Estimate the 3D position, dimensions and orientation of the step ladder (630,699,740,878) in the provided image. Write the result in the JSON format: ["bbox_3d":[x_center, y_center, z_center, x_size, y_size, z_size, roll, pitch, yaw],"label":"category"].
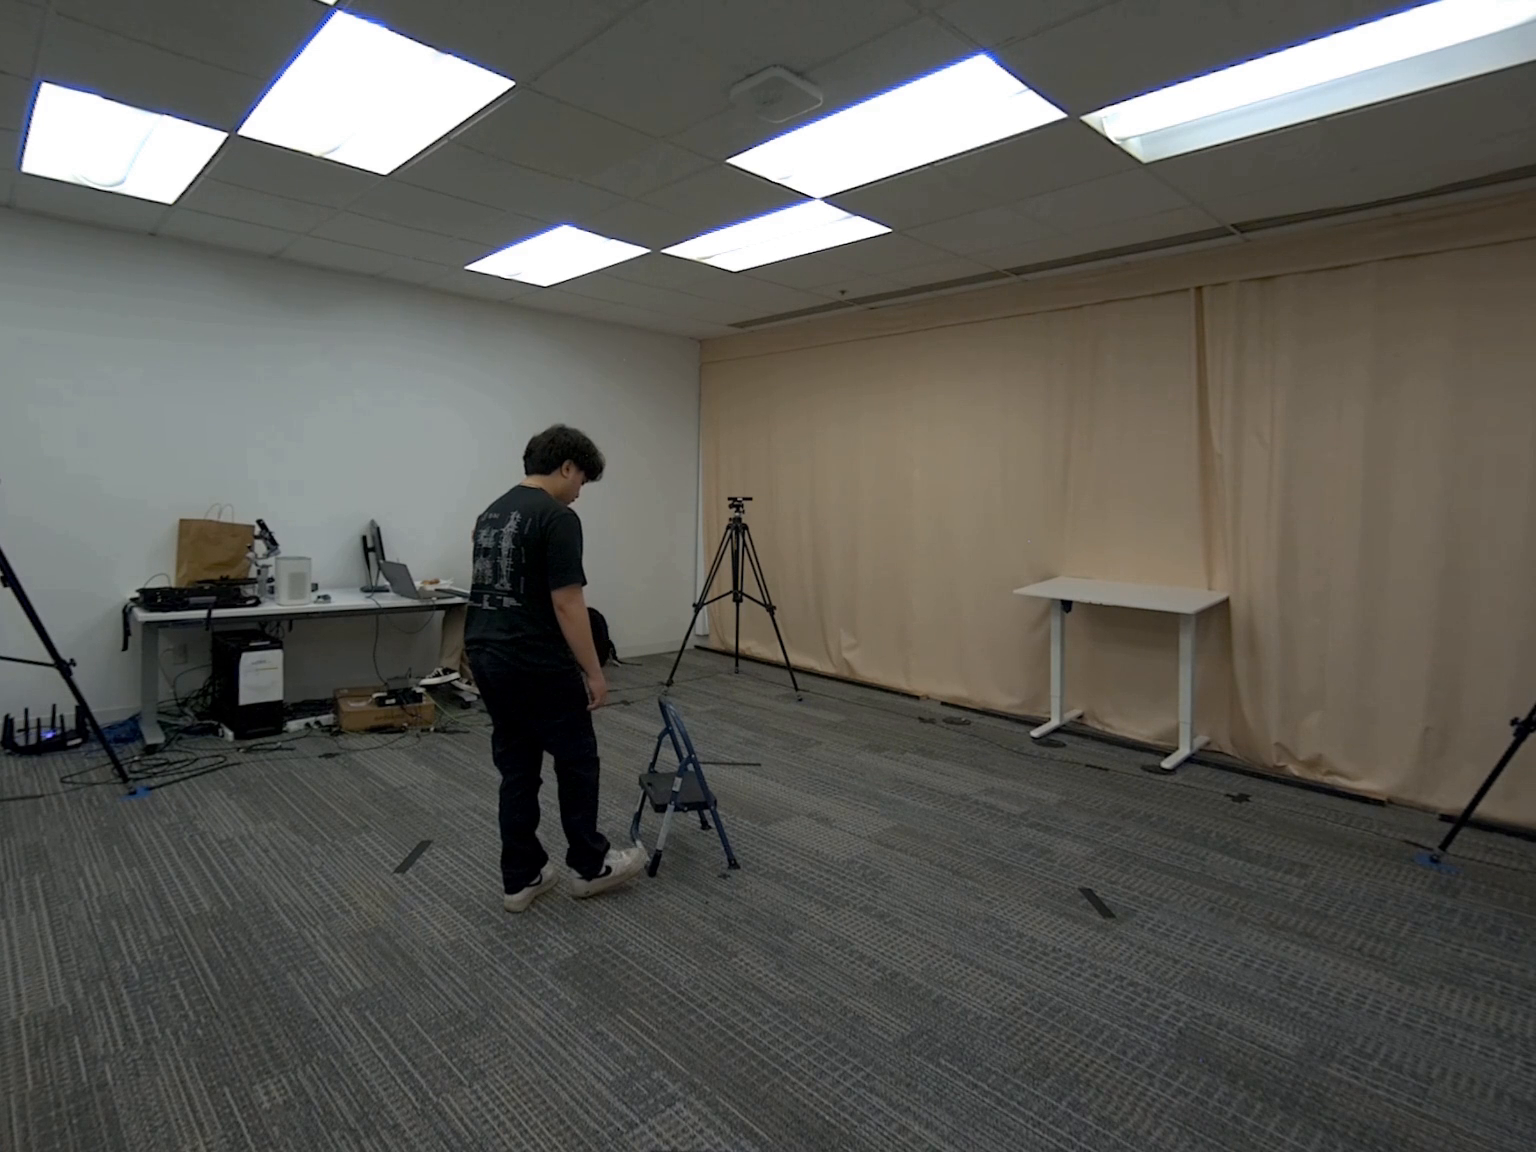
[{"bbox_3d":[-0.338,0.781,3.305,0.344,0.605,0.438,0,3,-20],"label":"step ladder"}]
